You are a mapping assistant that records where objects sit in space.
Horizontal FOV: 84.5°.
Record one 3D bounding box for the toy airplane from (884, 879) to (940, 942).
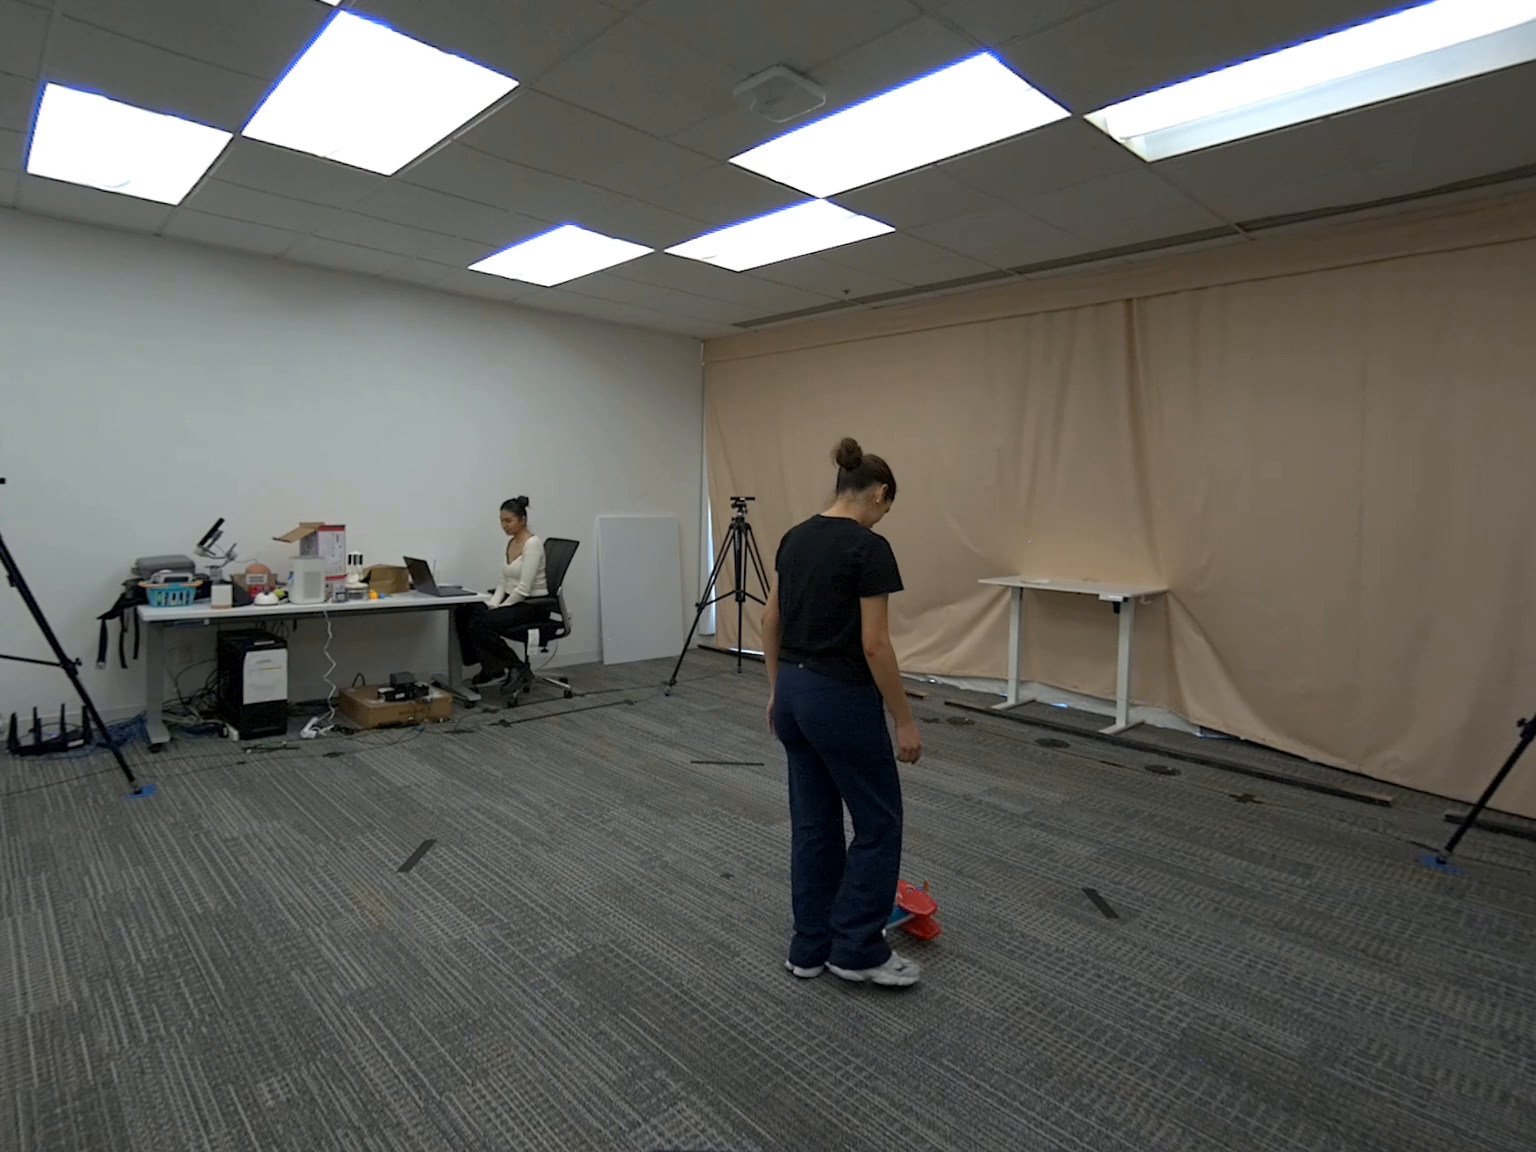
[{"bbox_3d":[0.421,1.087,2.659,0.256,0.156,0.254,3,5,29],"label":"toy airplane"}]
